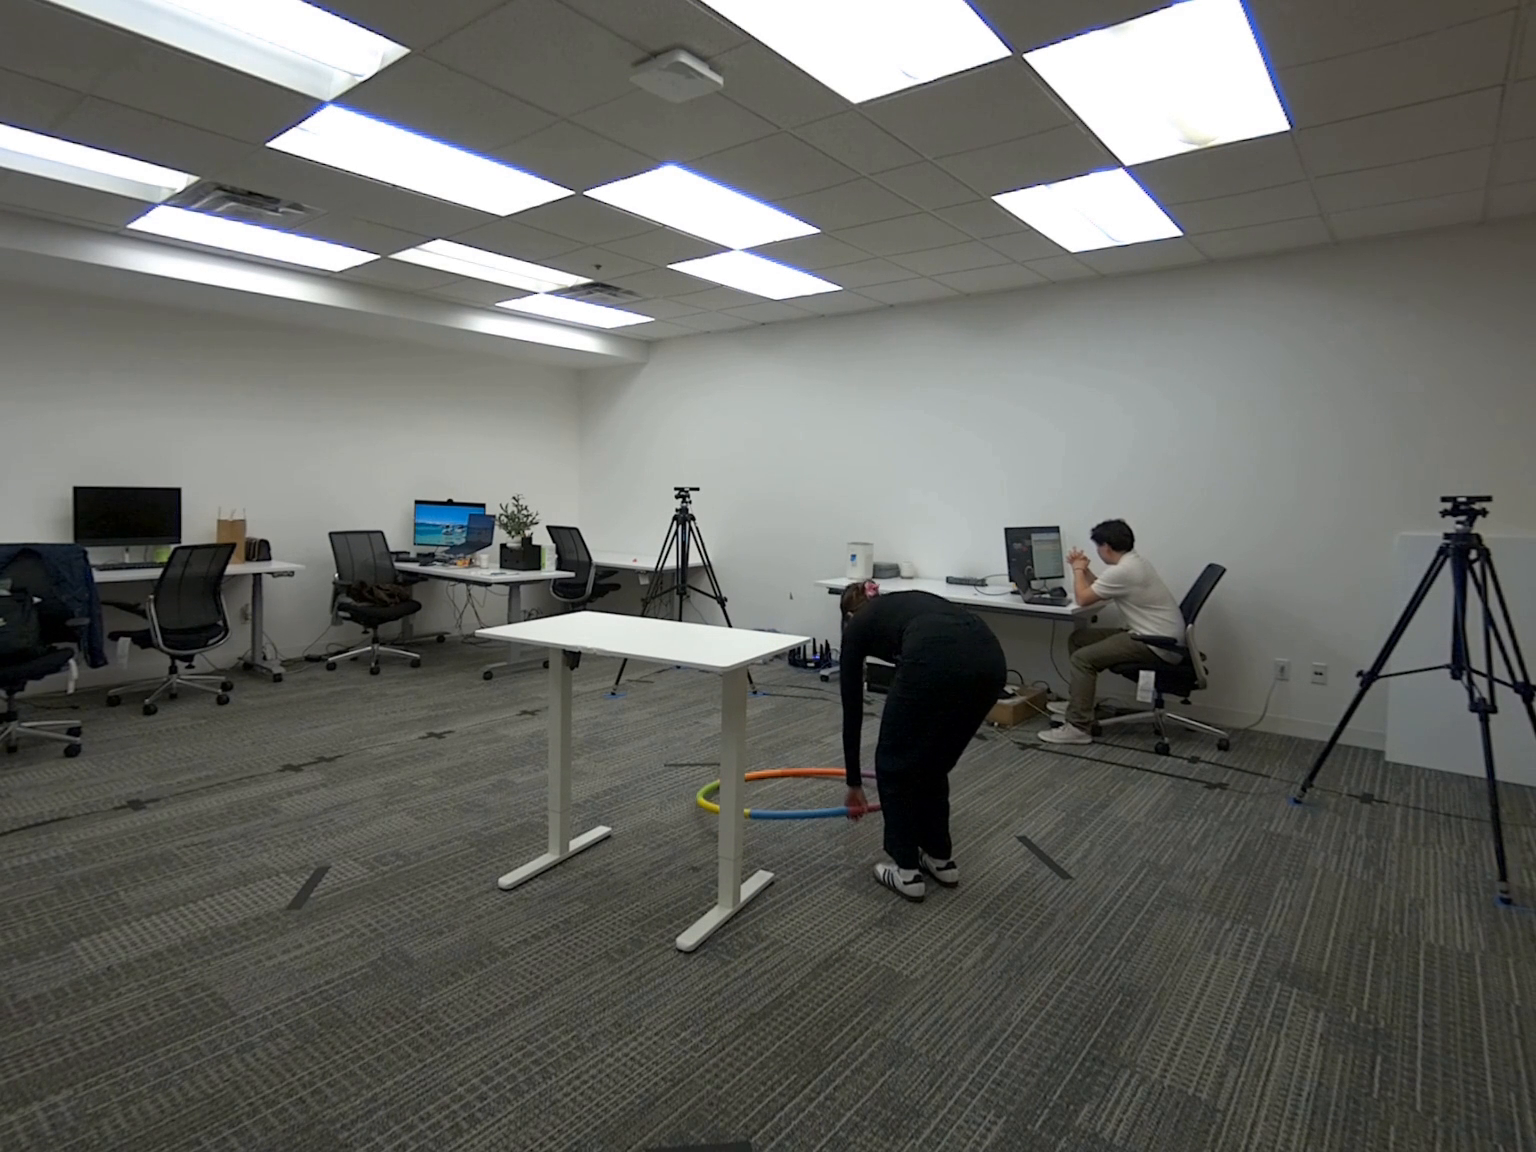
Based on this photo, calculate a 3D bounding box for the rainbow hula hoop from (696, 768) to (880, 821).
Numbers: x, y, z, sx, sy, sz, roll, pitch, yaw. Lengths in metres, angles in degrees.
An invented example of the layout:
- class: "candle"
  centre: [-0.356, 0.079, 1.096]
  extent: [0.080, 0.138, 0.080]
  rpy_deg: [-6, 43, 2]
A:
- class: "rainbow hula hoop"
  centre: [0.163, 0.914, 3.671]
  extent: [0.978, 0.036, 0.975]
  rpy_deg: [-3, -3, -2]
